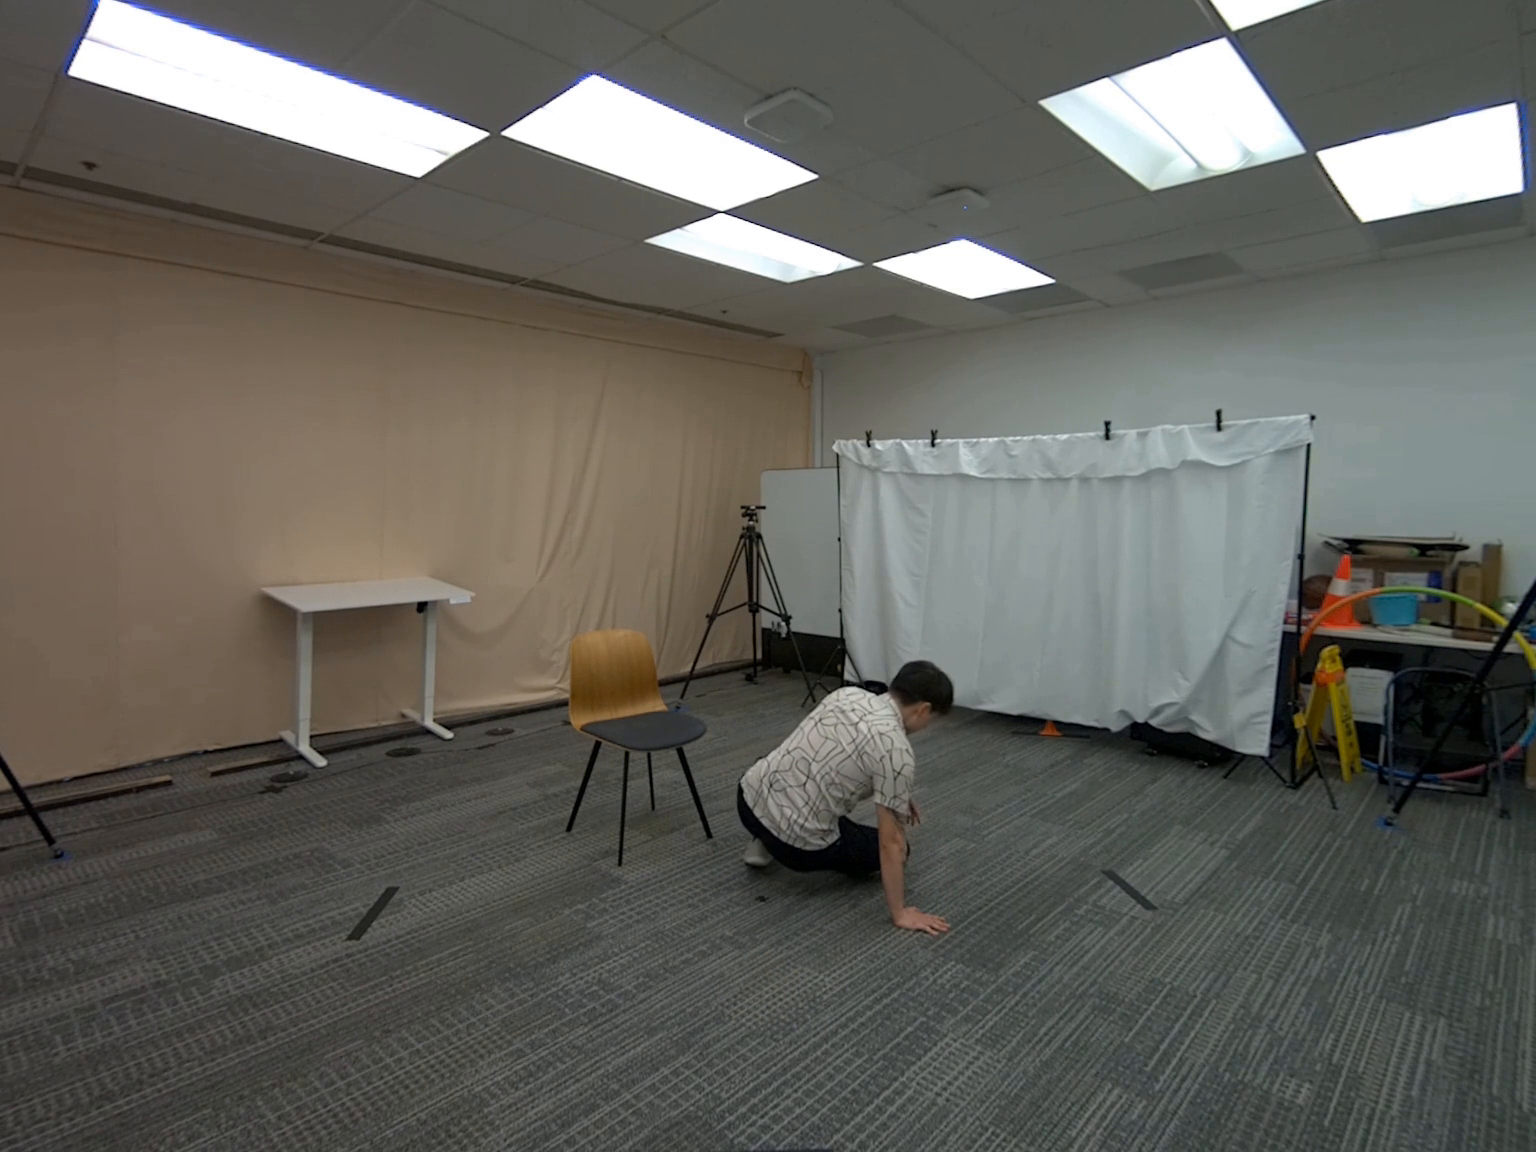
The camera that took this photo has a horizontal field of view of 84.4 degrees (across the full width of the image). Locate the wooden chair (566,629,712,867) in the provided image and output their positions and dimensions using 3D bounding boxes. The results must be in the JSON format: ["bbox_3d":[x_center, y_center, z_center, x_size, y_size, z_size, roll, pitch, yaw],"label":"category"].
[{"bbox_3d":[-0.544,0.675,3.538,0.464,0.878,0.539,-2,-1,-39],"label":"wooden chair"}]
